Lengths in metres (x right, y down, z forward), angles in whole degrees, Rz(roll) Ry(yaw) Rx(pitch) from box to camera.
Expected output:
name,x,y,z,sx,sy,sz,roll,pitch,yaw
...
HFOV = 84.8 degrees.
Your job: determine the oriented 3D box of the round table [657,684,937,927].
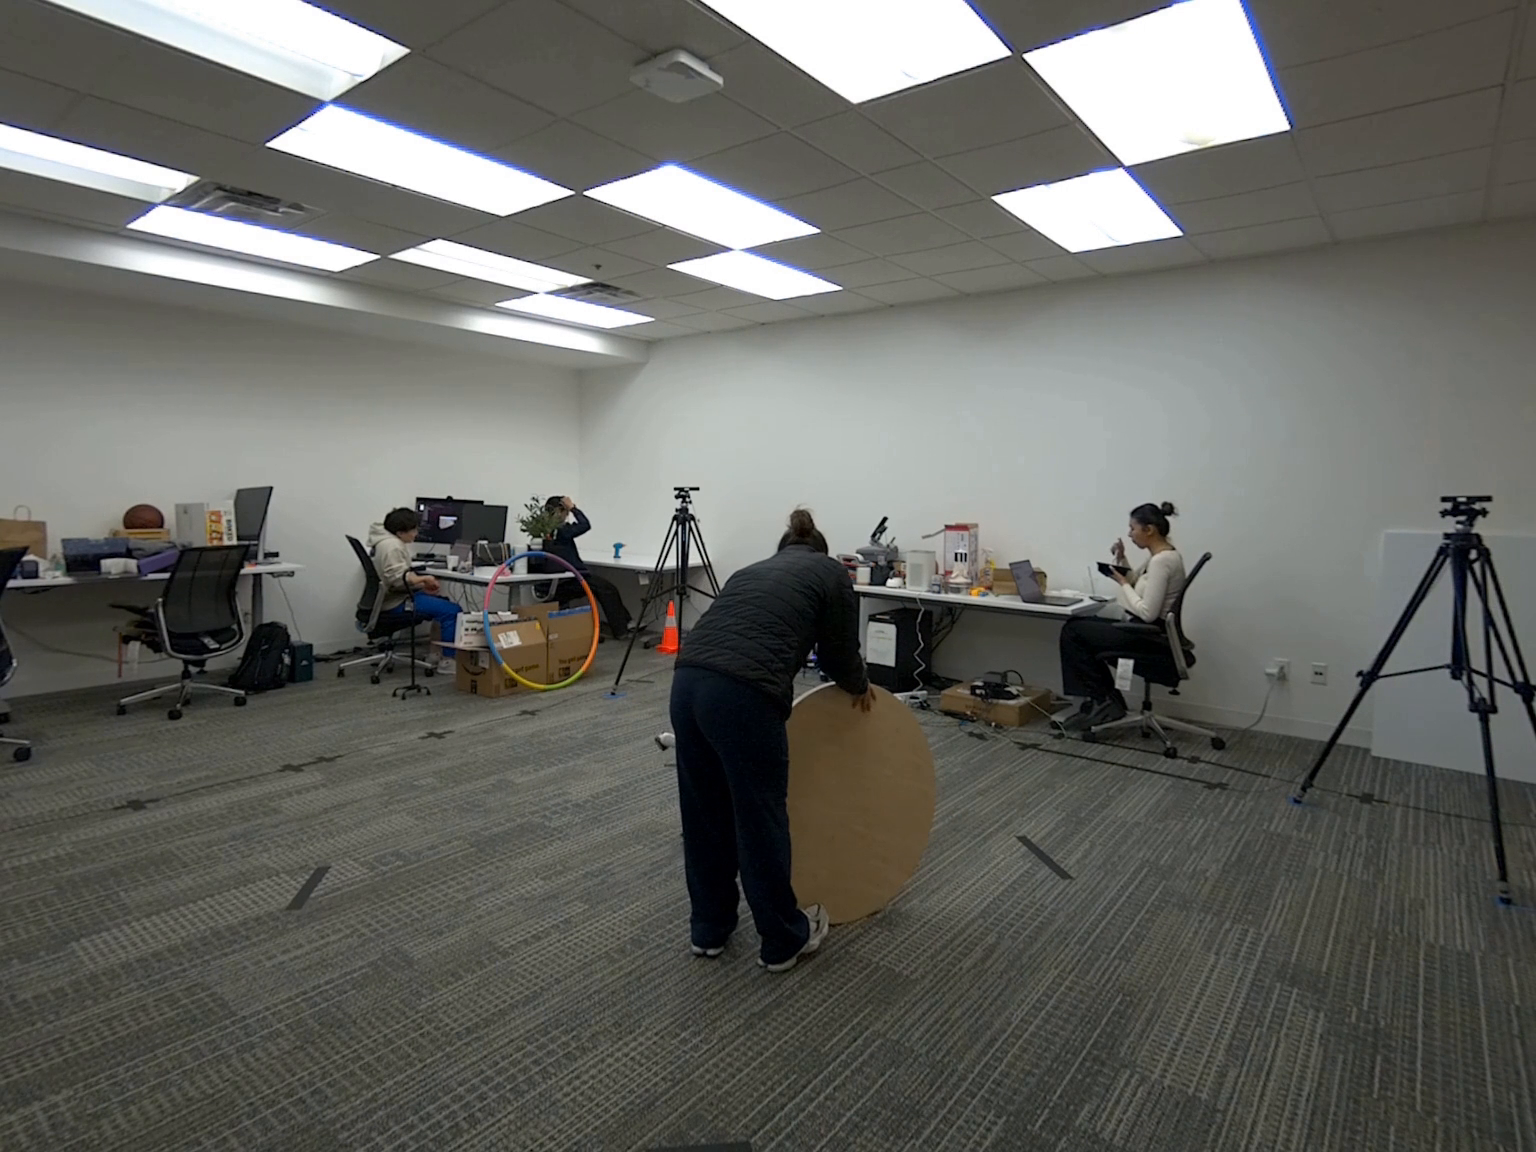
name,x,y,z,sx,sy,sz,roll,pitch,yaw
round table,0.057,0.726,3.115,0.763,0.787,0.807,-2,-1,-33
